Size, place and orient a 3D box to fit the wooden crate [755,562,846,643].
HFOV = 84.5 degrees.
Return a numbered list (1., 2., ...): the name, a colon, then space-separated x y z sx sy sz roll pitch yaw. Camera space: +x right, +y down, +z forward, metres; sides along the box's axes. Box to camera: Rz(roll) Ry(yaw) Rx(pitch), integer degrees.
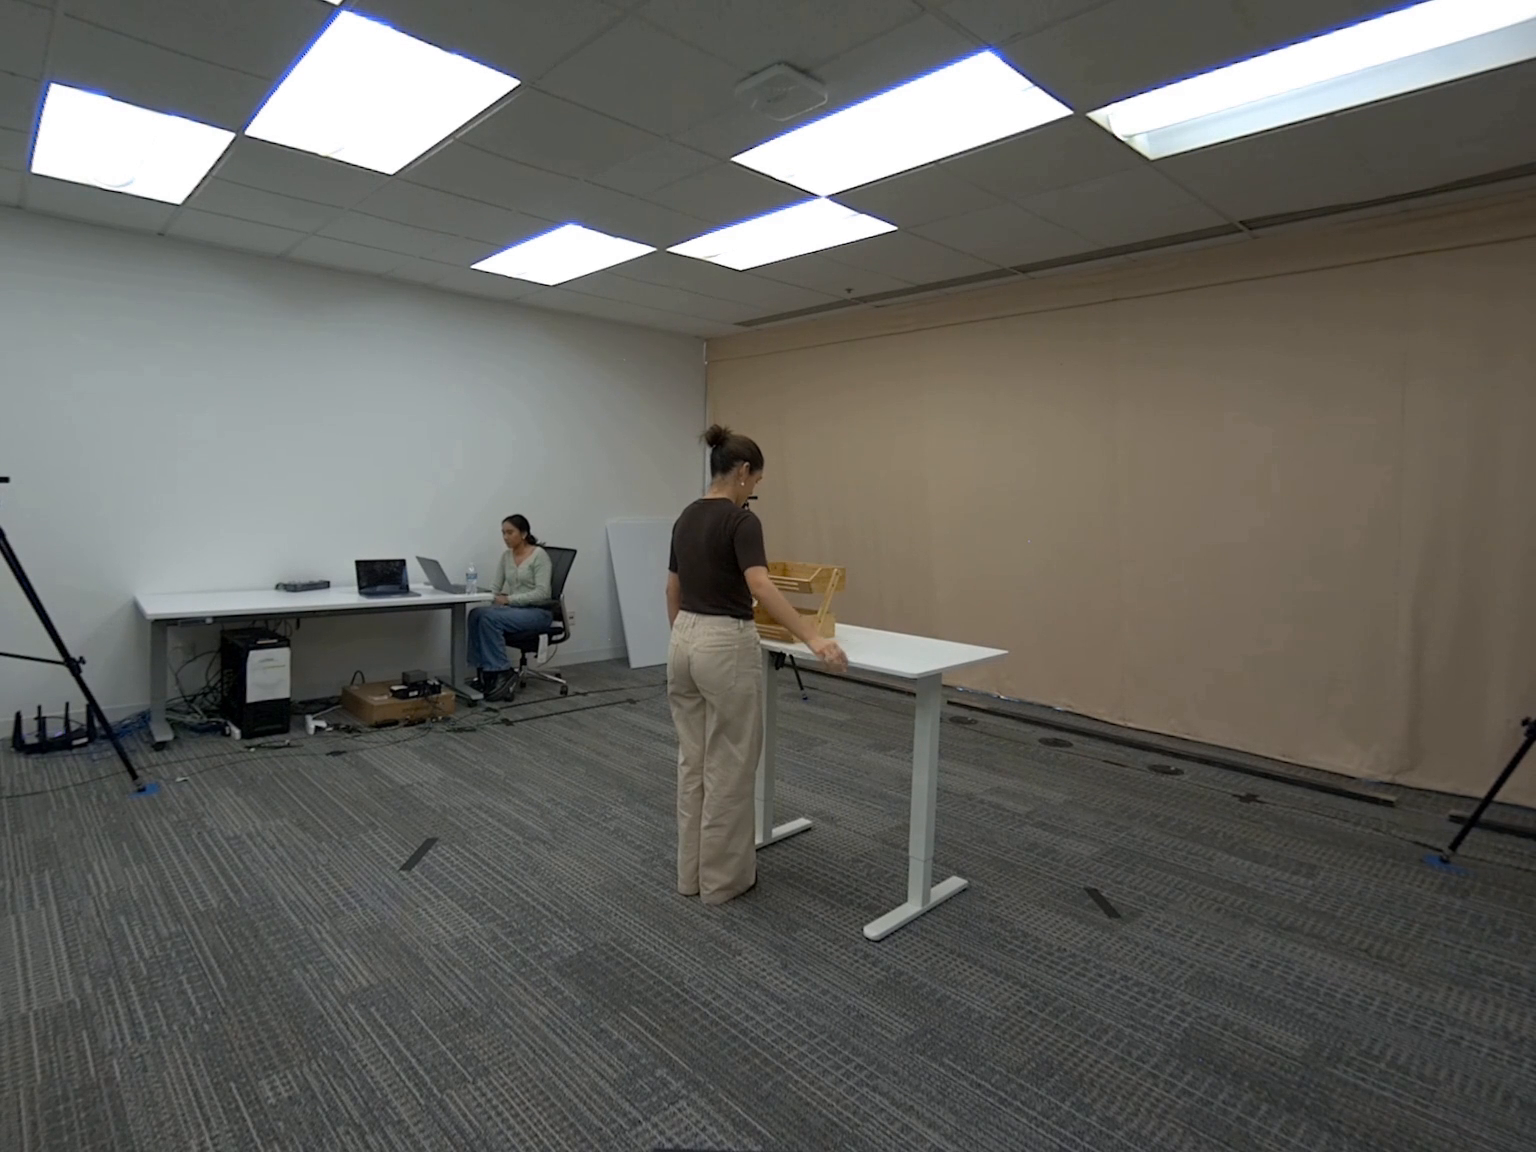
1. wooden crate: 0.065 0.086 3.152 0.333 0.272 0.295 6 6 42
